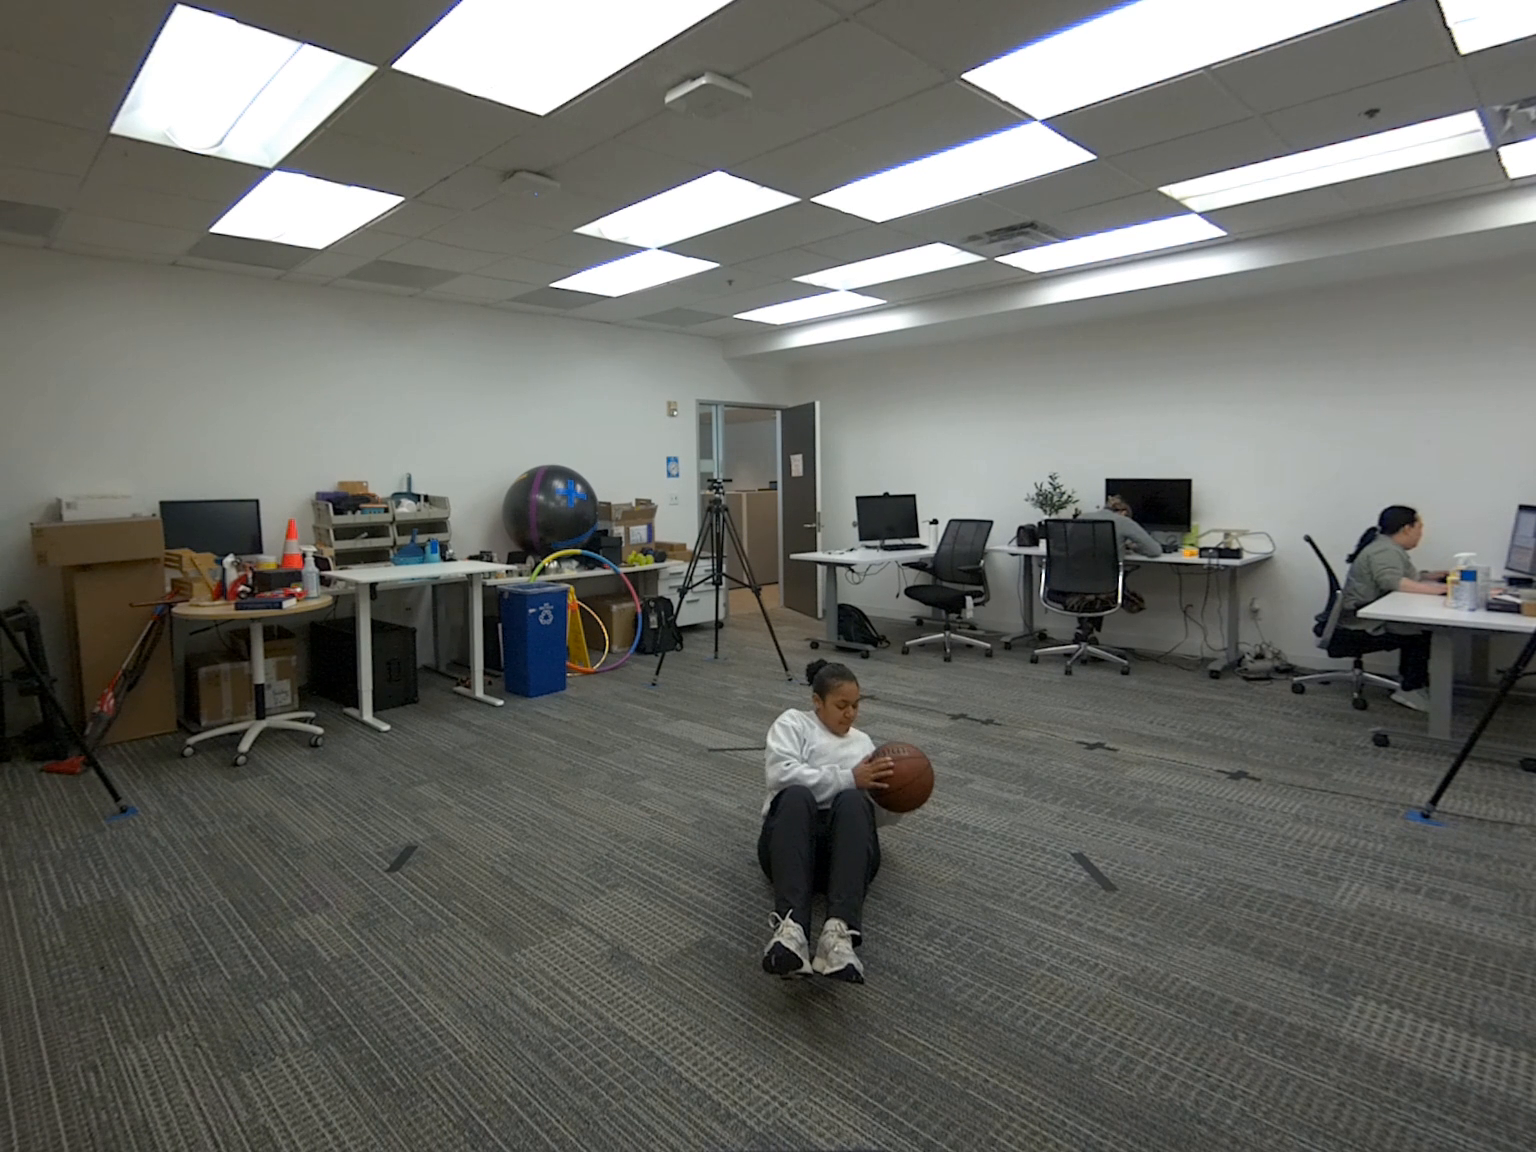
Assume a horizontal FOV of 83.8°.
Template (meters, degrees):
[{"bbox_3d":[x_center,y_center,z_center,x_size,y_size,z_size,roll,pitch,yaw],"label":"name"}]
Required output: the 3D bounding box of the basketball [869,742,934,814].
[{"bbox_3d":[0.433,0.697,2.962,0.236,0.235,0.237,-1,5,-2],"label":"basketball"}]
